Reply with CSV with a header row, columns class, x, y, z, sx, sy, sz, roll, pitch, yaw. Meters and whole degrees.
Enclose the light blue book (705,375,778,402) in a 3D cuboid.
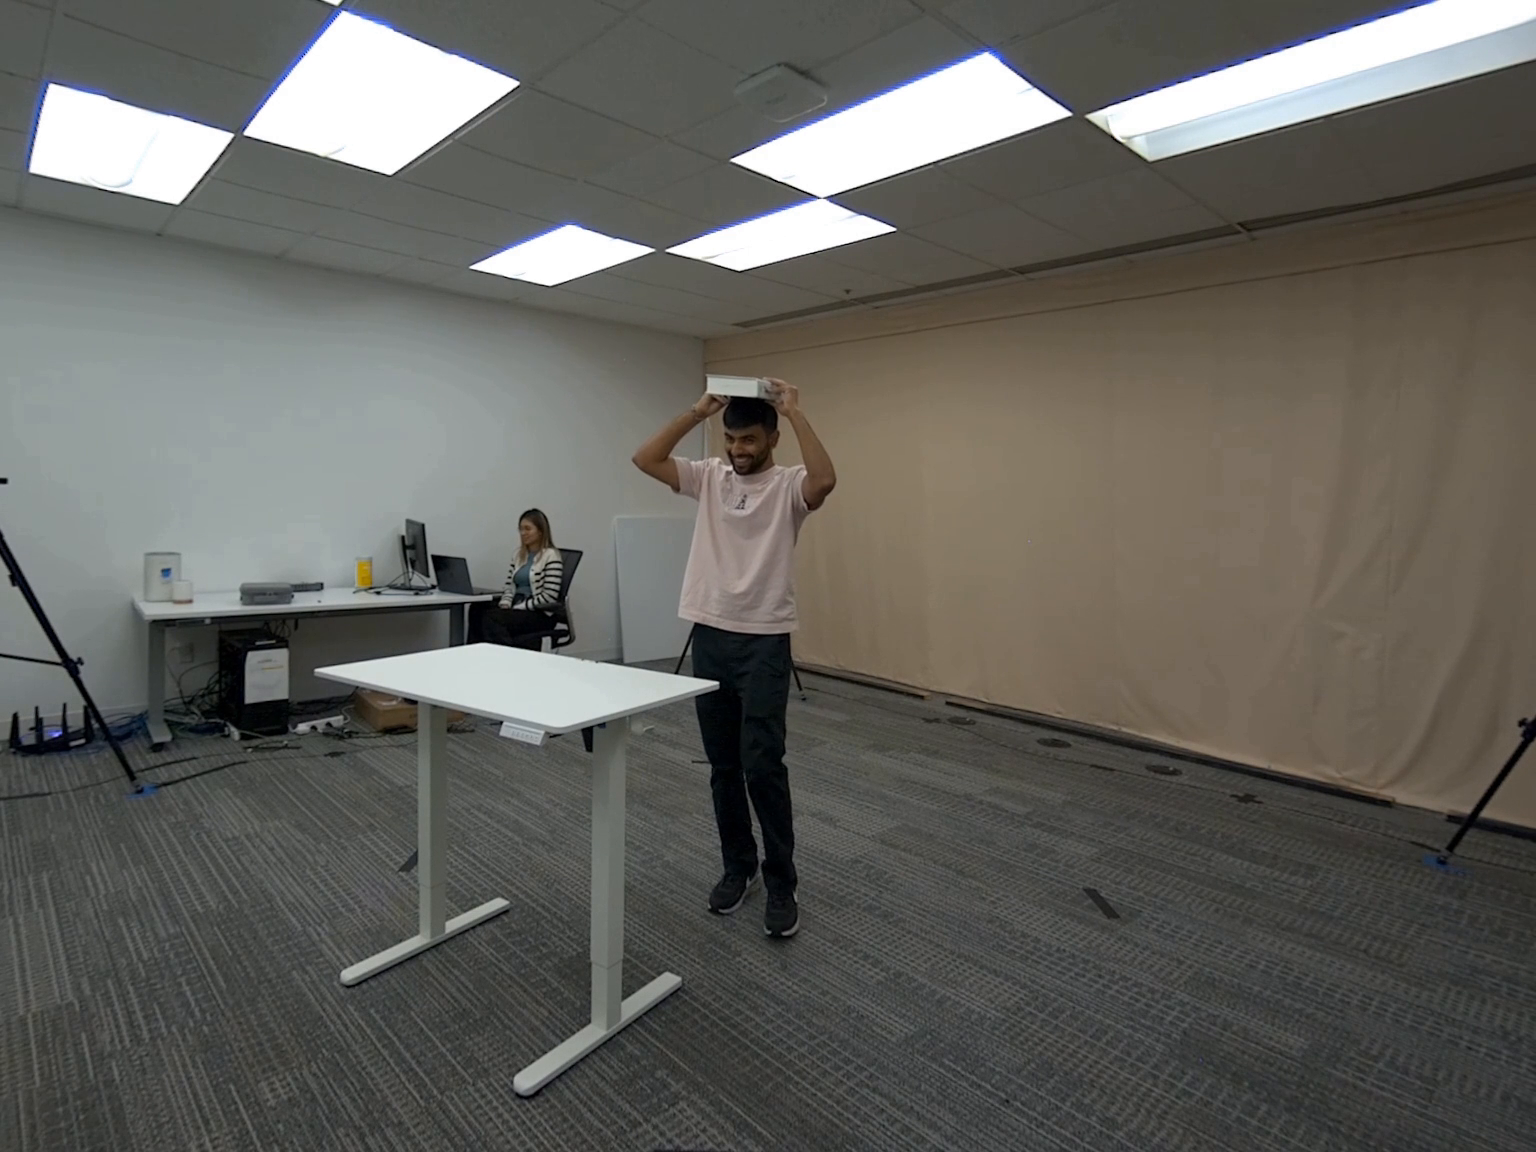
class,x,y,z,sx,sy,sz,roll,pitch,yaw
light blue book,-0.056,-0.606,2.753,0.195,0.059,0.257,11,10,23
